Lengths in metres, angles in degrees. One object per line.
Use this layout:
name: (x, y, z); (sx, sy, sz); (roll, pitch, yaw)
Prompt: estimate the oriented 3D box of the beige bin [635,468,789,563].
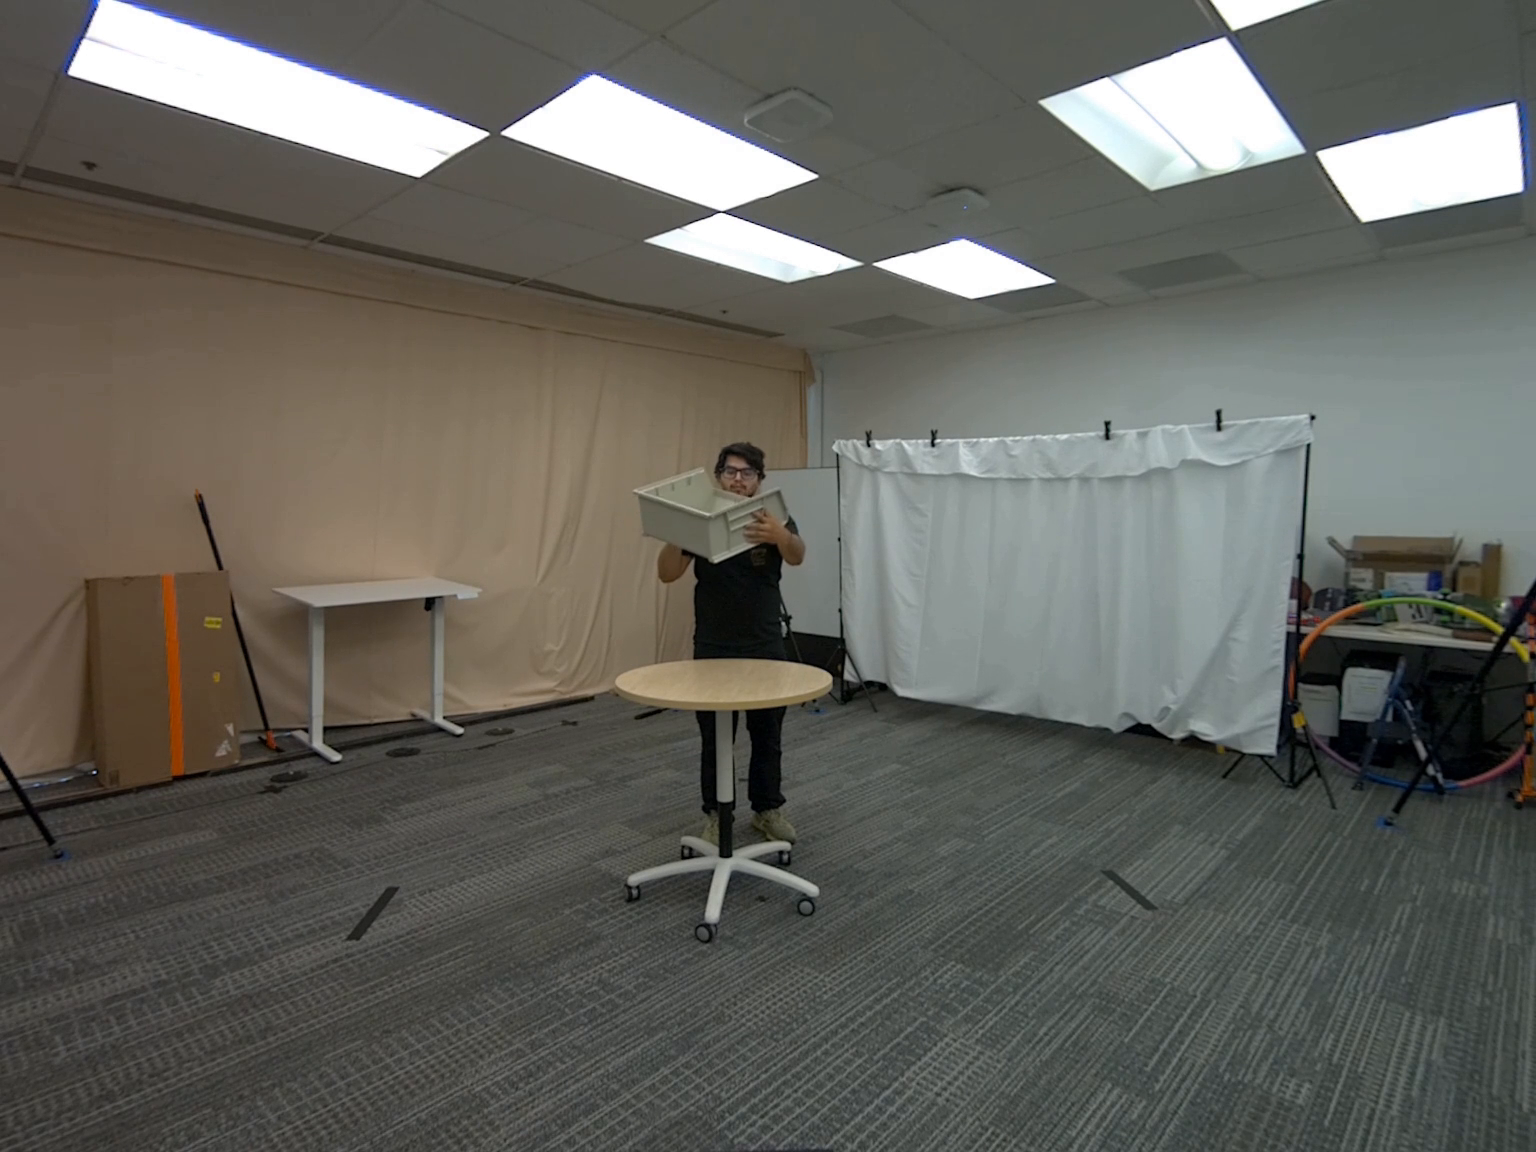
beige bin: (-0.203, -0.229, 3.043); (0.369, 0.186, 0.438); (-24, 31, -36)
